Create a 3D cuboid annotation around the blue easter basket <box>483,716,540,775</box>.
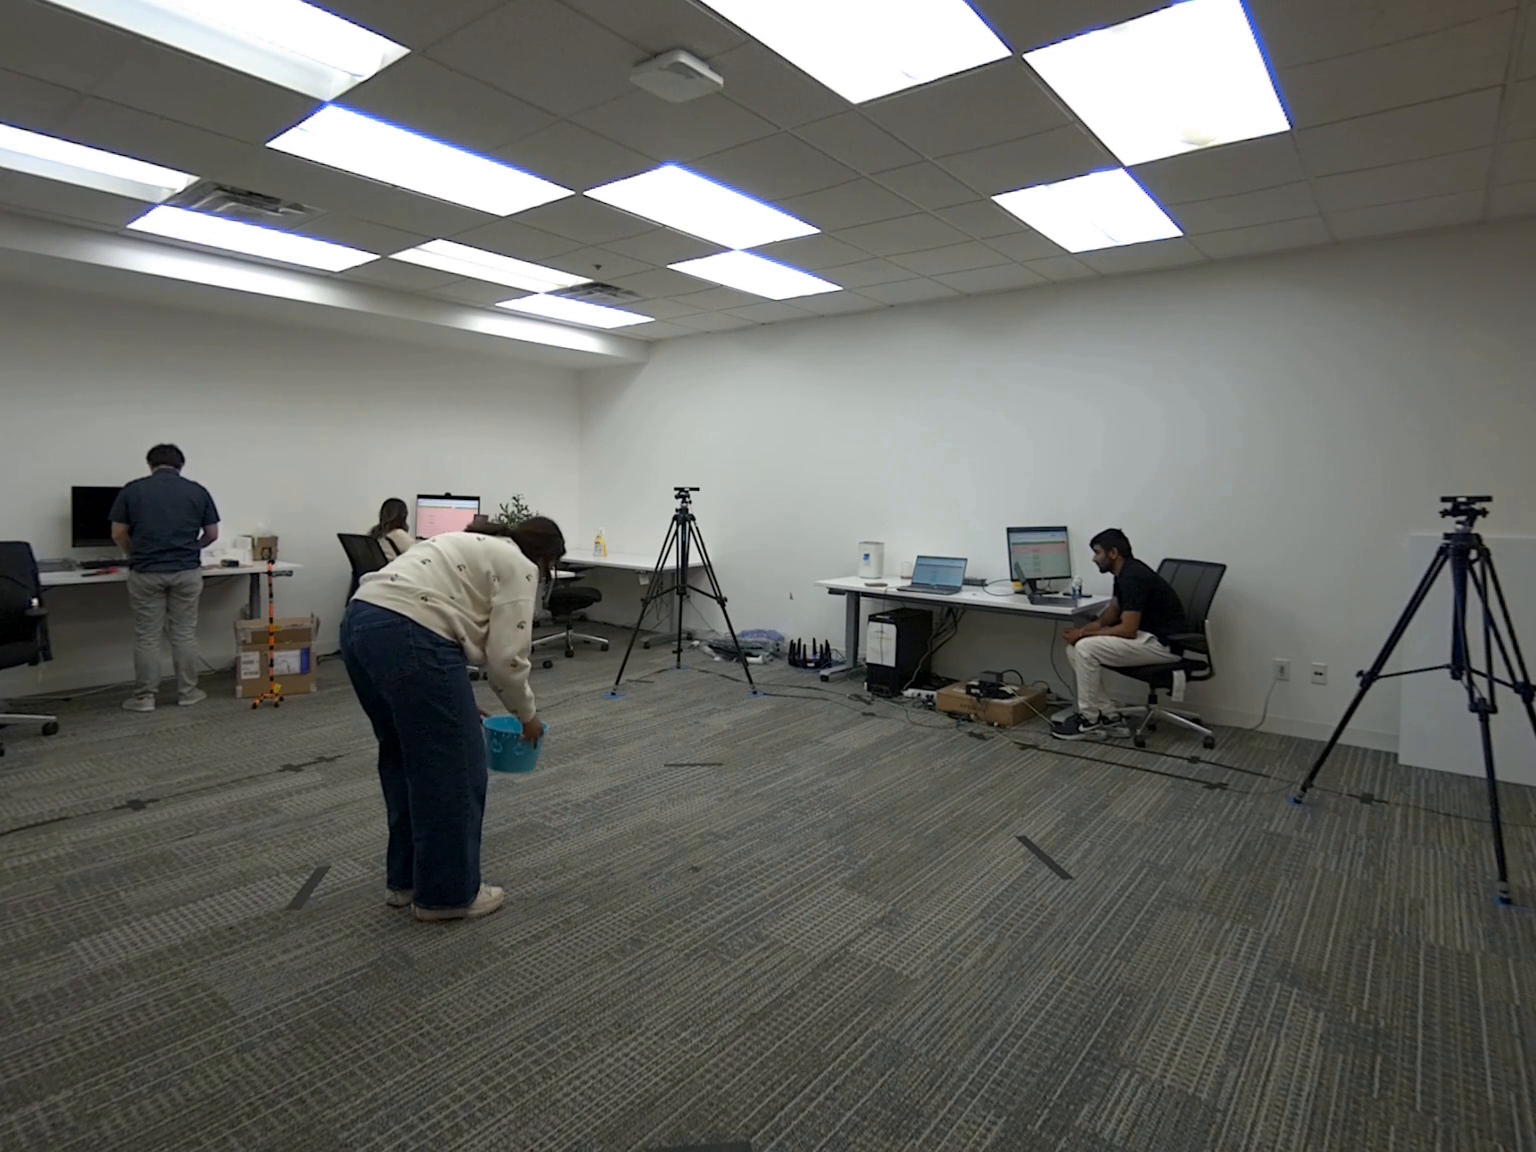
[{"bbox_3d":[-0.937,0.611,3.072,0.243,0.156,0.244,8,2,-2],"label":"blue easter basket"}]
